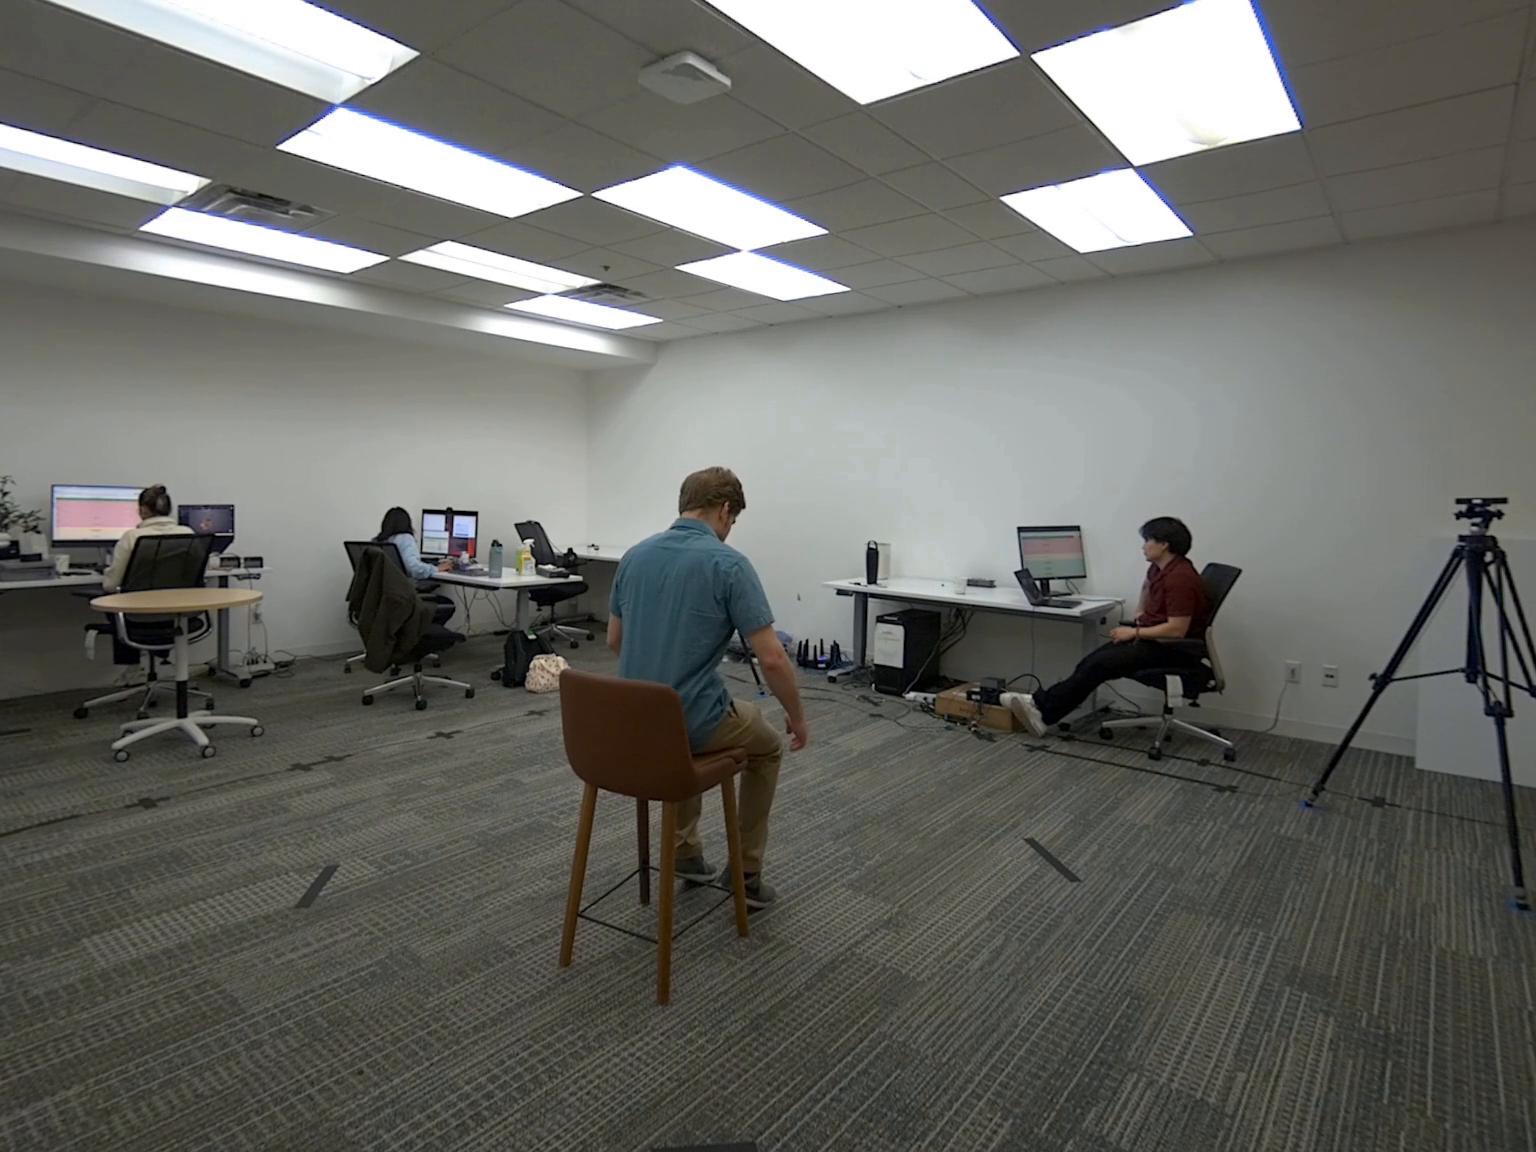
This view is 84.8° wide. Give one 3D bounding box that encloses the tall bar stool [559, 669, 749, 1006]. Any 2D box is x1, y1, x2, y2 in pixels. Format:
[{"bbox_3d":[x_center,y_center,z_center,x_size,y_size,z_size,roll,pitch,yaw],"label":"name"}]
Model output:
[{"bbox_3d":[-0.349,0.687,2.539,0.469,0.886,0.456,2,5,29],"label":"tall bar stool"}]
